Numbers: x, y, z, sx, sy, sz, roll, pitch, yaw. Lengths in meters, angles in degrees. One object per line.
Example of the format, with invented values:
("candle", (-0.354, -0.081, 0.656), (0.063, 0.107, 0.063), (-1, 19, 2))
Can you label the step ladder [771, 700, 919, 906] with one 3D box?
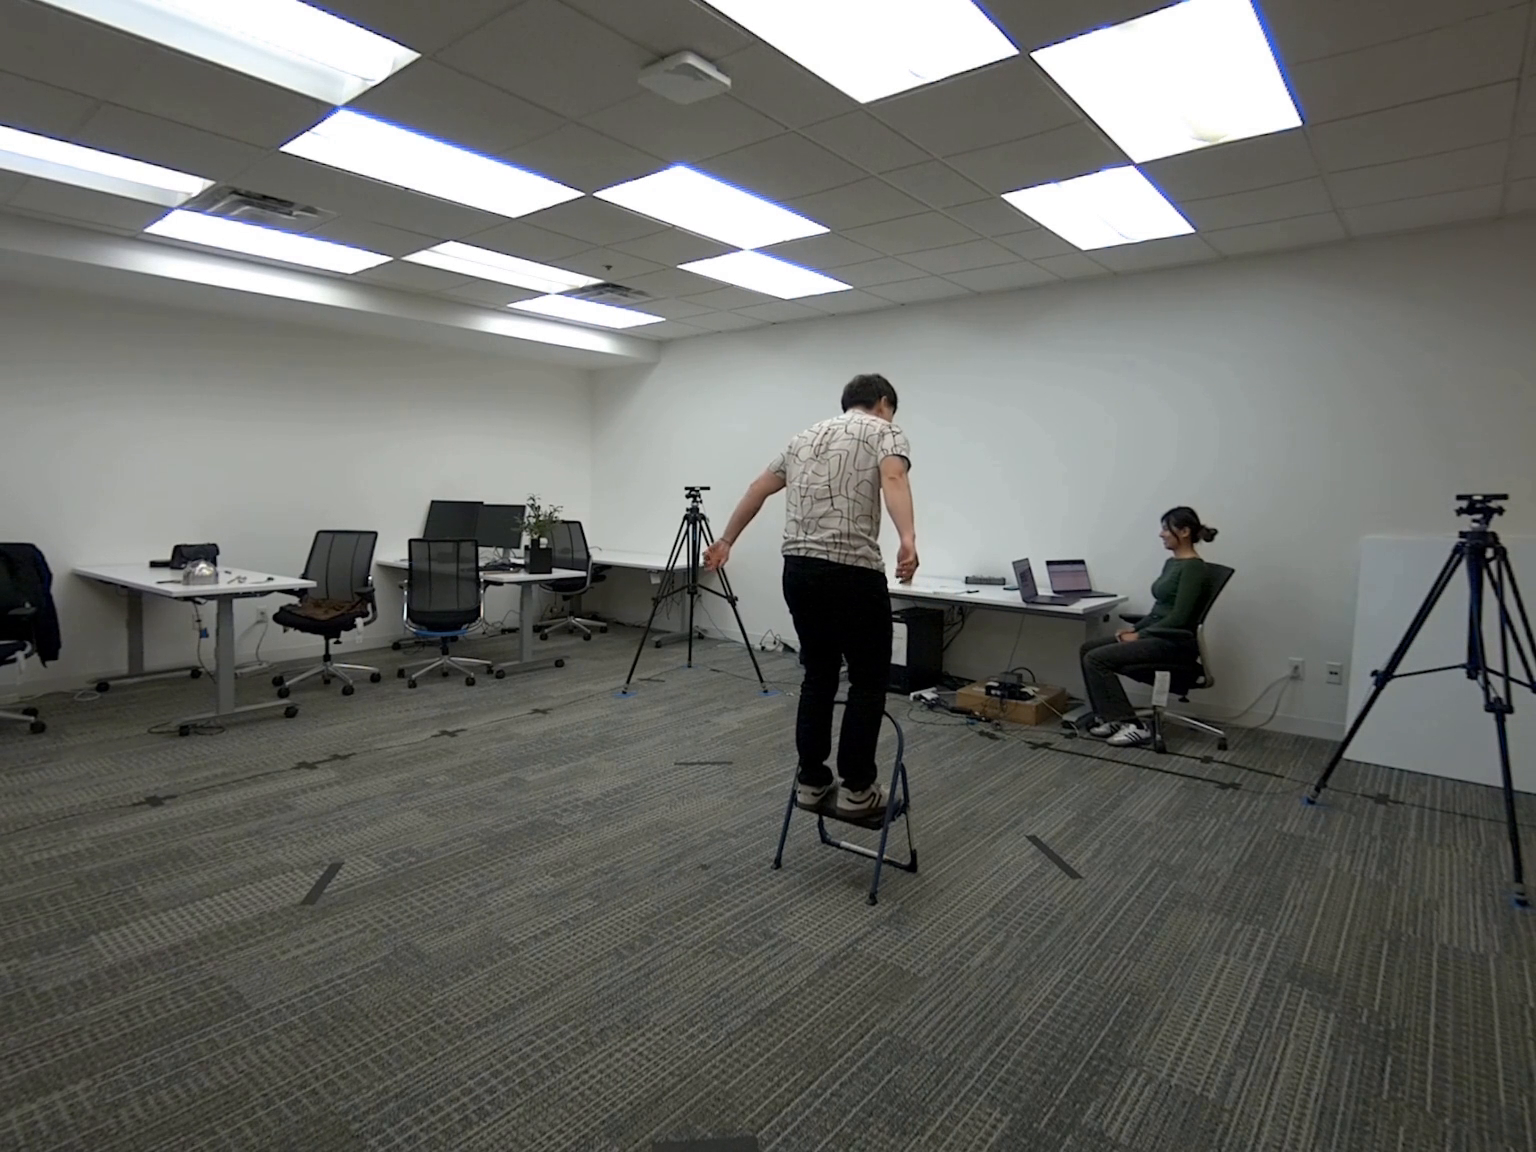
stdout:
("step ladder", (0.286, 0.770, 3.105), (0.445, 0.604, 0.339), (4, 4, 37))
